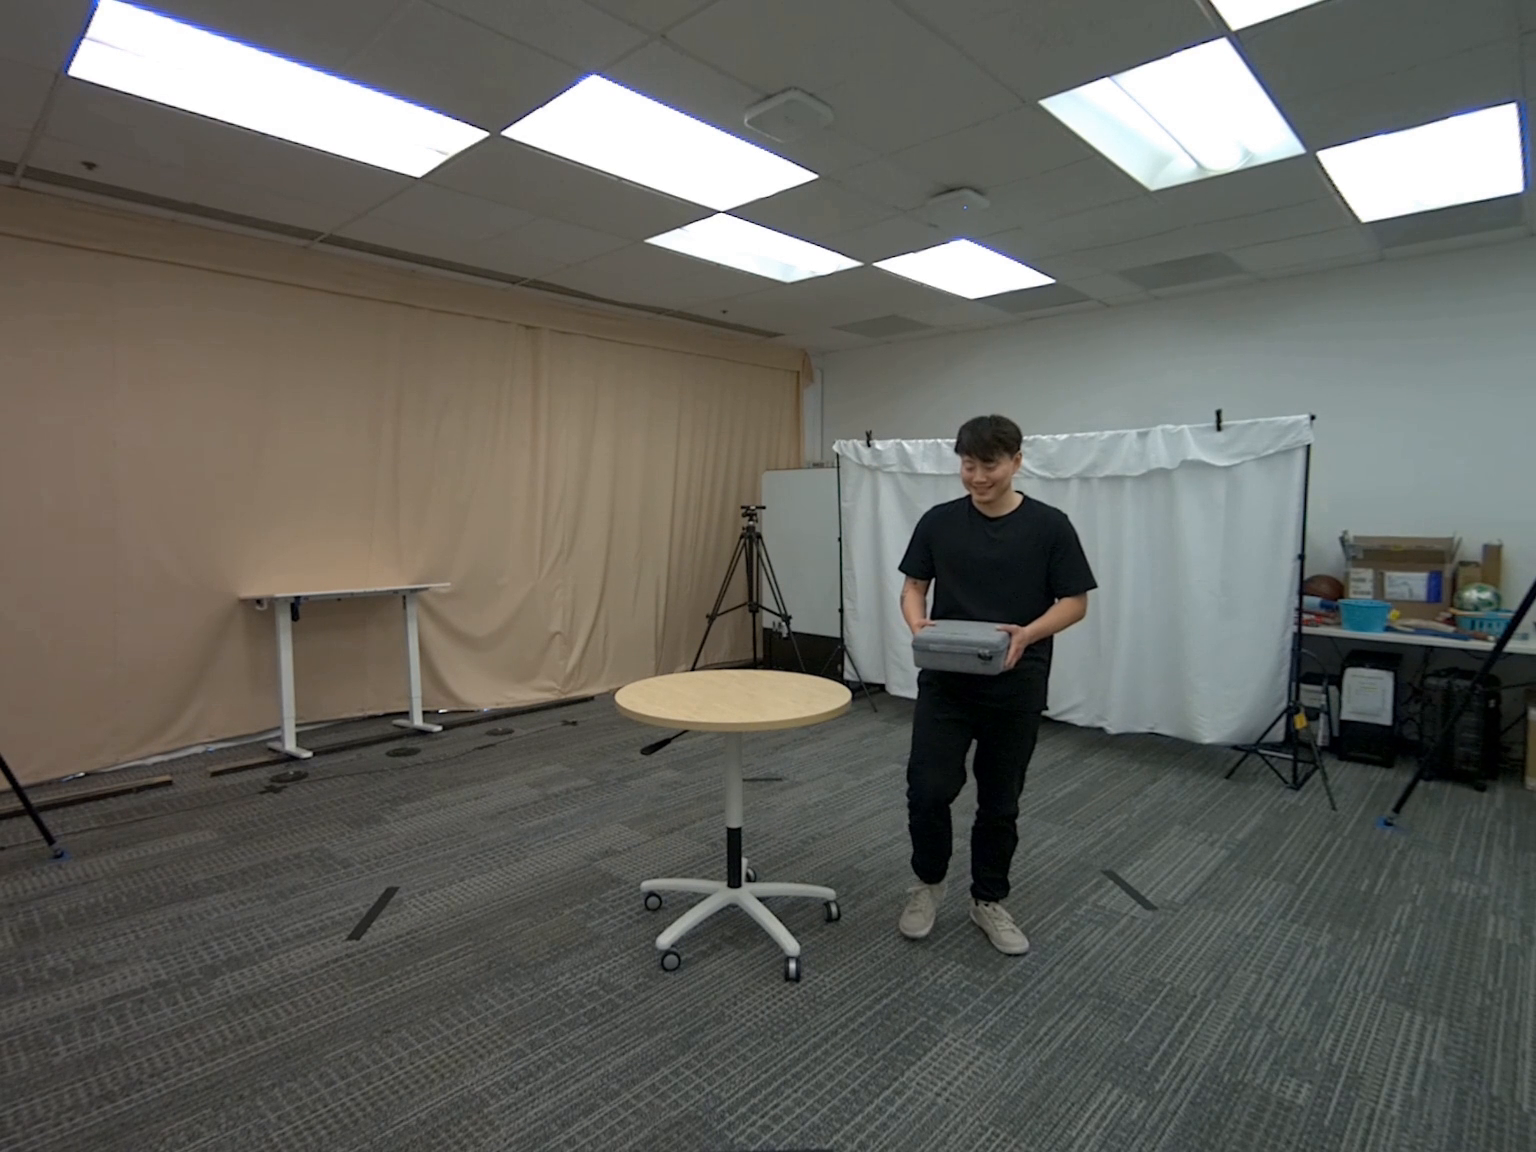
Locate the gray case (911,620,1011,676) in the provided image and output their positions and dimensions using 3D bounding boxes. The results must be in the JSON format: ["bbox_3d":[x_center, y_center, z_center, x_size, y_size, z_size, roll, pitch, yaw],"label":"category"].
[{"bbox_3d":[0.591,0.208,2.480,0.263,0.104,0.256,3,9,22],"label":"gray case"}]
